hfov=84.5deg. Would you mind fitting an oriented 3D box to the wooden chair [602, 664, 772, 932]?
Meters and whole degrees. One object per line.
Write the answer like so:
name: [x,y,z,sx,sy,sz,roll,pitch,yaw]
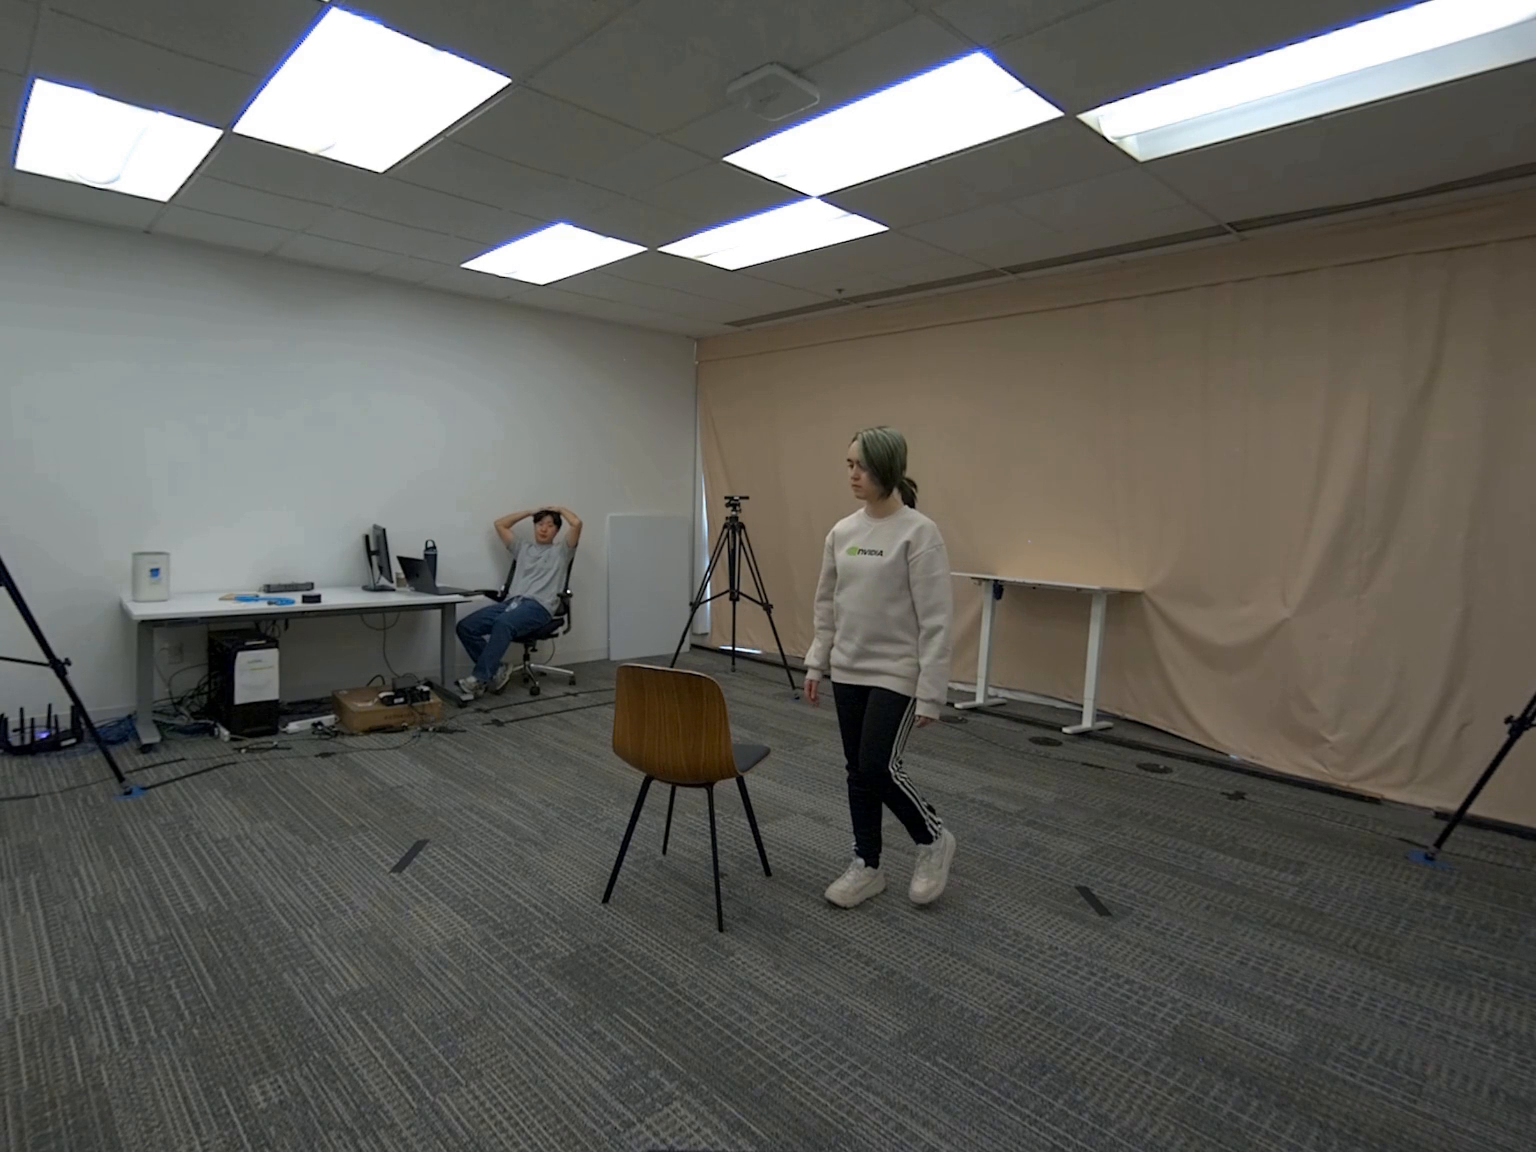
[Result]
wooden chair: [-0.266,0.681,2.967,0.487,0.873,0.516,3,8,22]
